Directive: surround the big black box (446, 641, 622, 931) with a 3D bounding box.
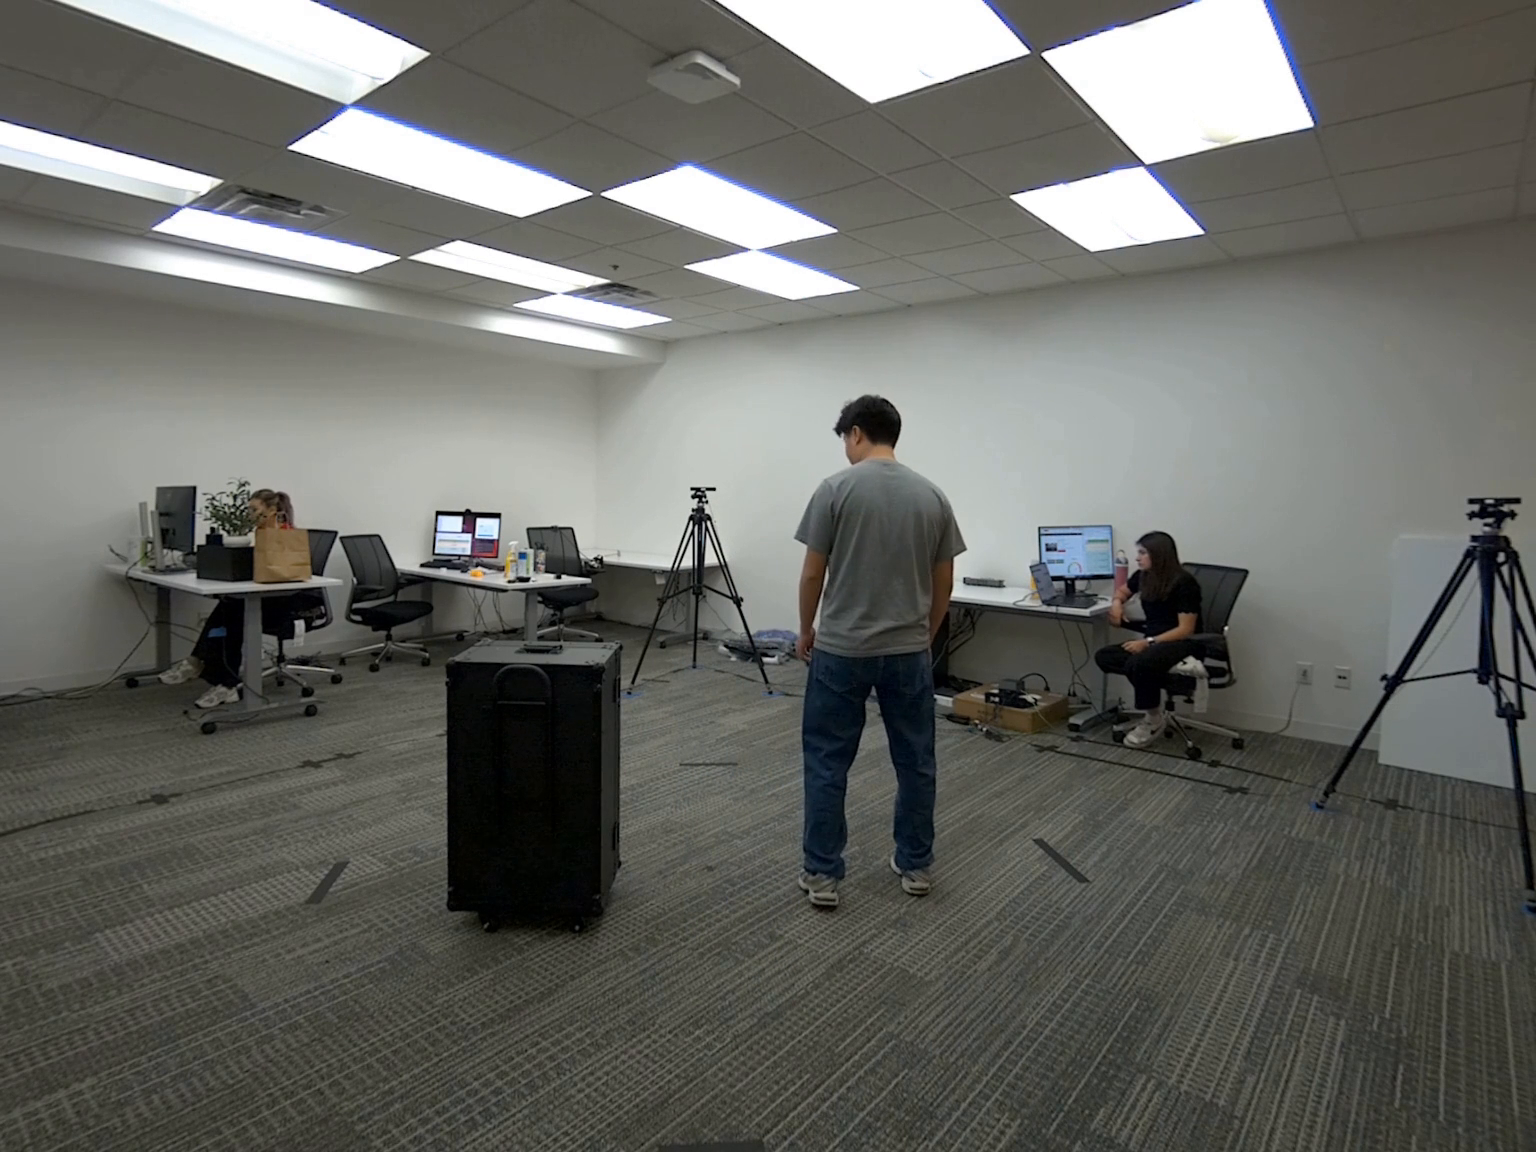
[{"bbox_3d":[-0.753,0.667,2.755,0.523,0.858,0.397,1,4,2],"label":"big black box"}]
